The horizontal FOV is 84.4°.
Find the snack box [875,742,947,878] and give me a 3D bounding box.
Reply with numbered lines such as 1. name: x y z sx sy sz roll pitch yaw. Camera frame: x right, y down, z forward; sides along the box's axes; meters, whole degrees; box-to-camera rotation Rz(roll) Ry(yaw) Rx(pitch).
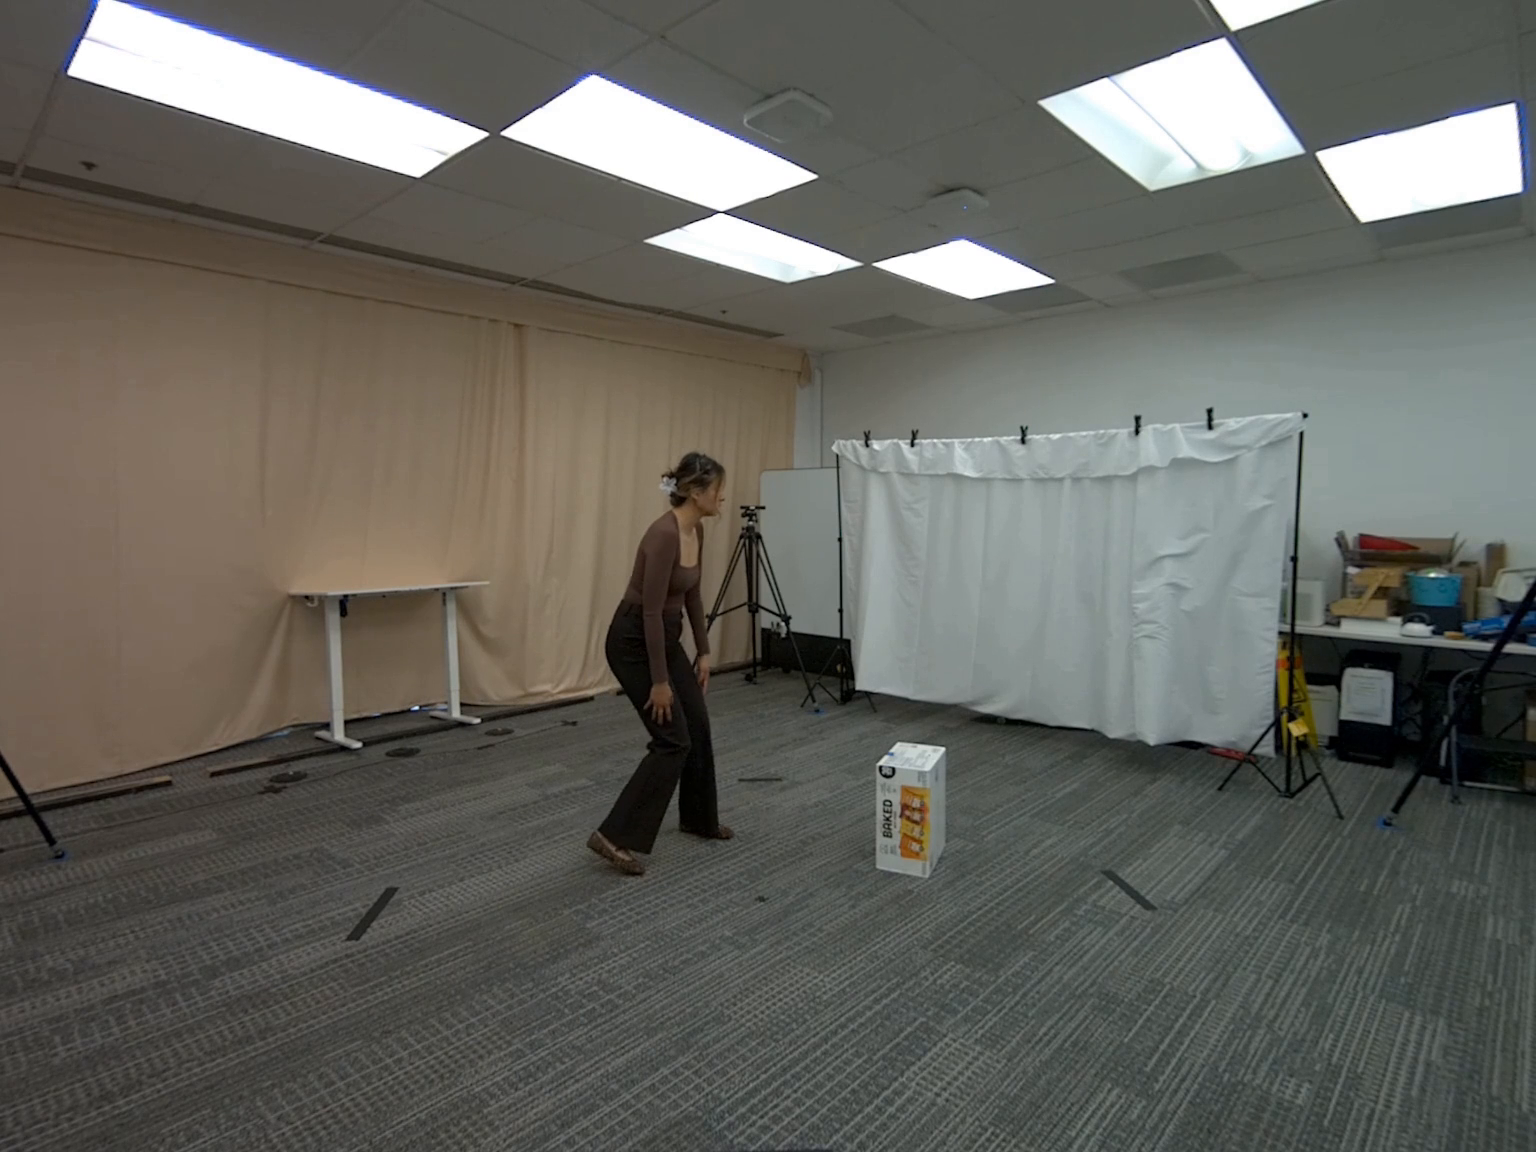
1. snack box: 0.570 0.907 3.331 0.211 0.404 0.333 1 4 23
